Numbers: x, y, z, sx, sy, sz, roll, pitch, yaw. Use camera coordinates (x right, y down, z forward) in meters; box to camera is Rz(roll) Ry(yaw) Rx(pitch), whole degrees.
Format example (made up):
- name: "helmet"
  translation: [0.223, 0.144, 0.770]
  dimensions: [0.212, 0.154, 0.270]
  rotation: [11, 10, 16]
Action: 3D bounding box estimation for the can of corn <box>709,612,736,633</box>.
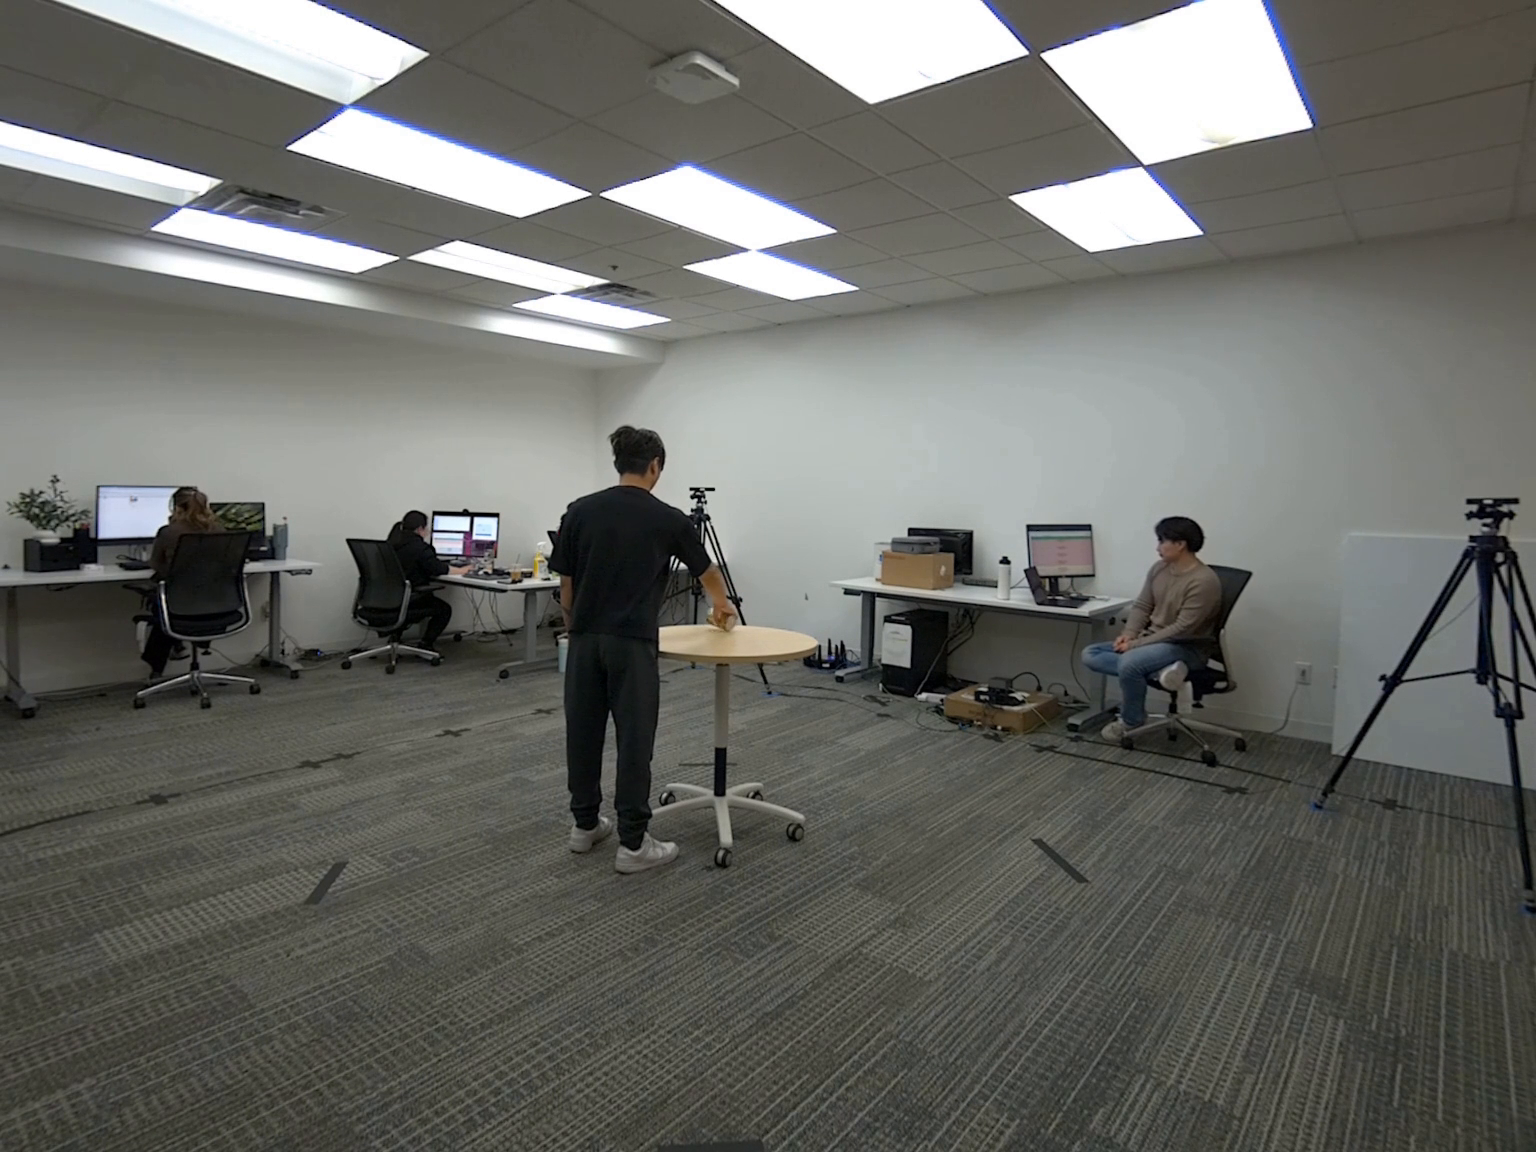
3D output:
- name: "can of corn"
  translation: [-0.213, 0.184, 3.667]
  dimensions: [0.115, 0.073, 0.072]
  rotation: [22, 16, 39]
